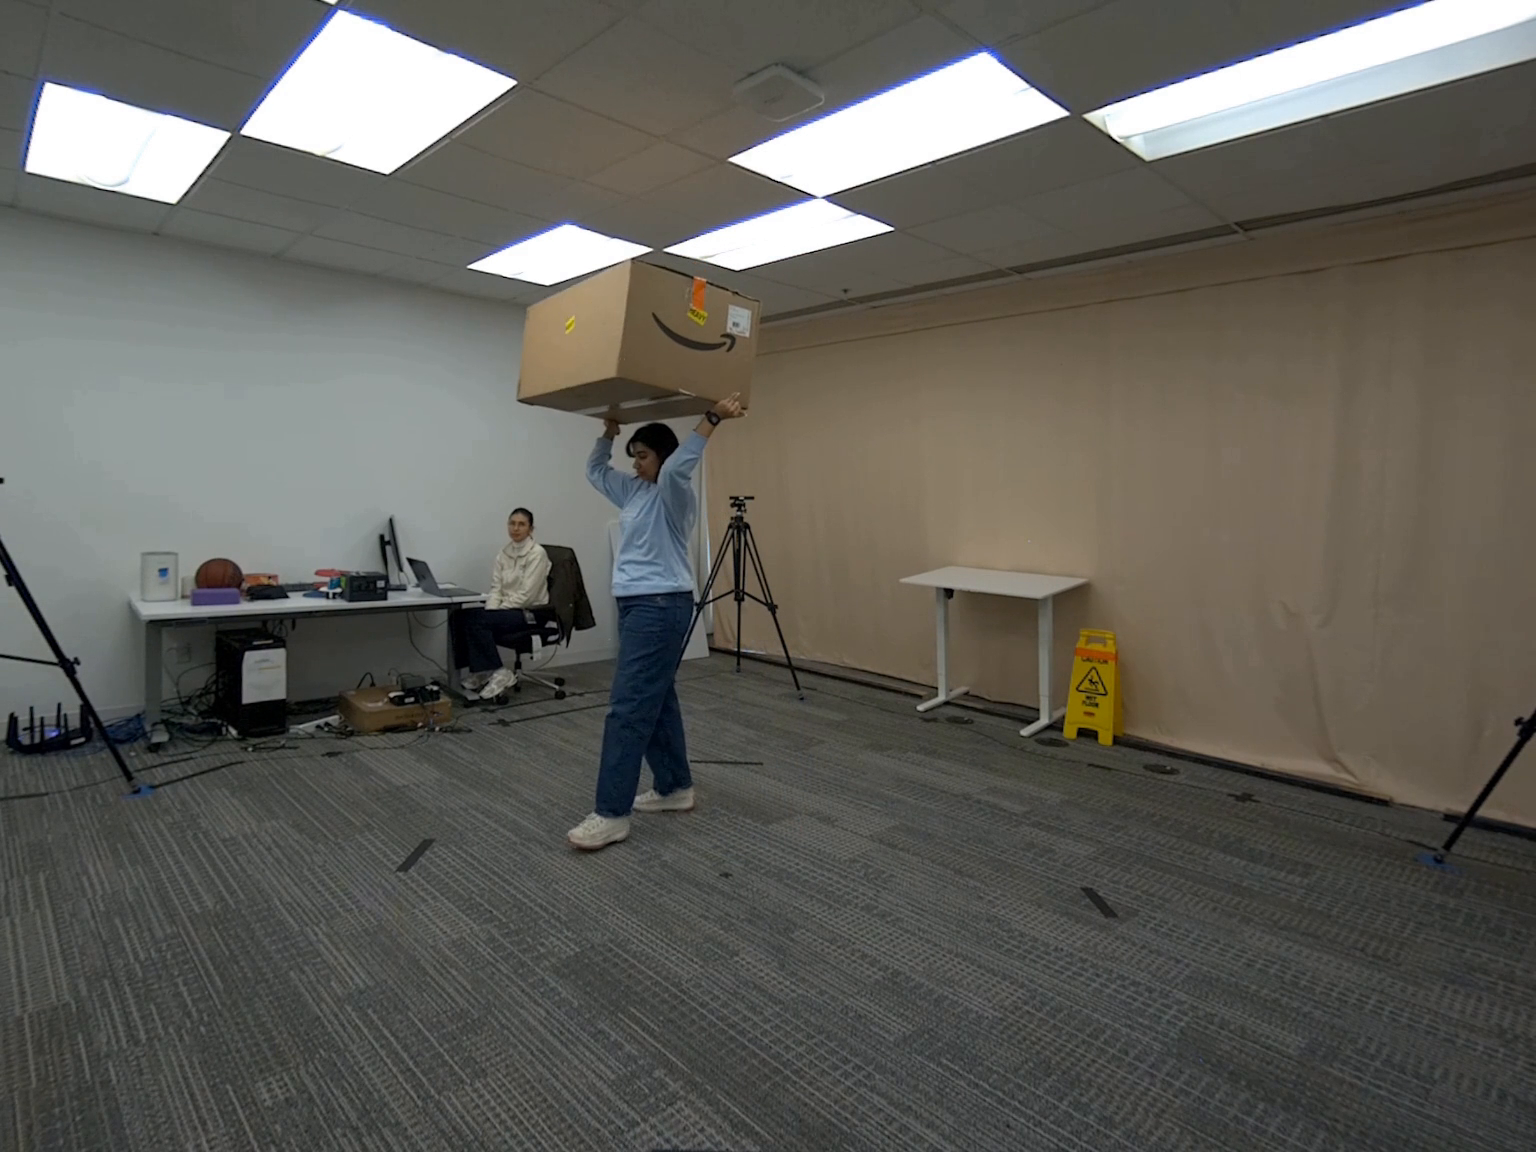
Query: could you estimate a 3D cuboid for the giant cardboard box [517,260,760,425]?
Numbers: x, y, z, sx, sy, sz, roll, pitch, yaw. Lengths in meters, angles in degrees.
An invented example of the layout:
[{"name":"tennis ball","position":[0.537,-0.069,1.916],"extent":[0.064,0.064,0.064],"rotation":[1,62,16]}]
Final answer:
[{"name":"giant cardboard box","position":[-0.579,-0.922,3.498],"extent":[0.563,0.426,1.051],"rotation":[7,1,-36]}]
